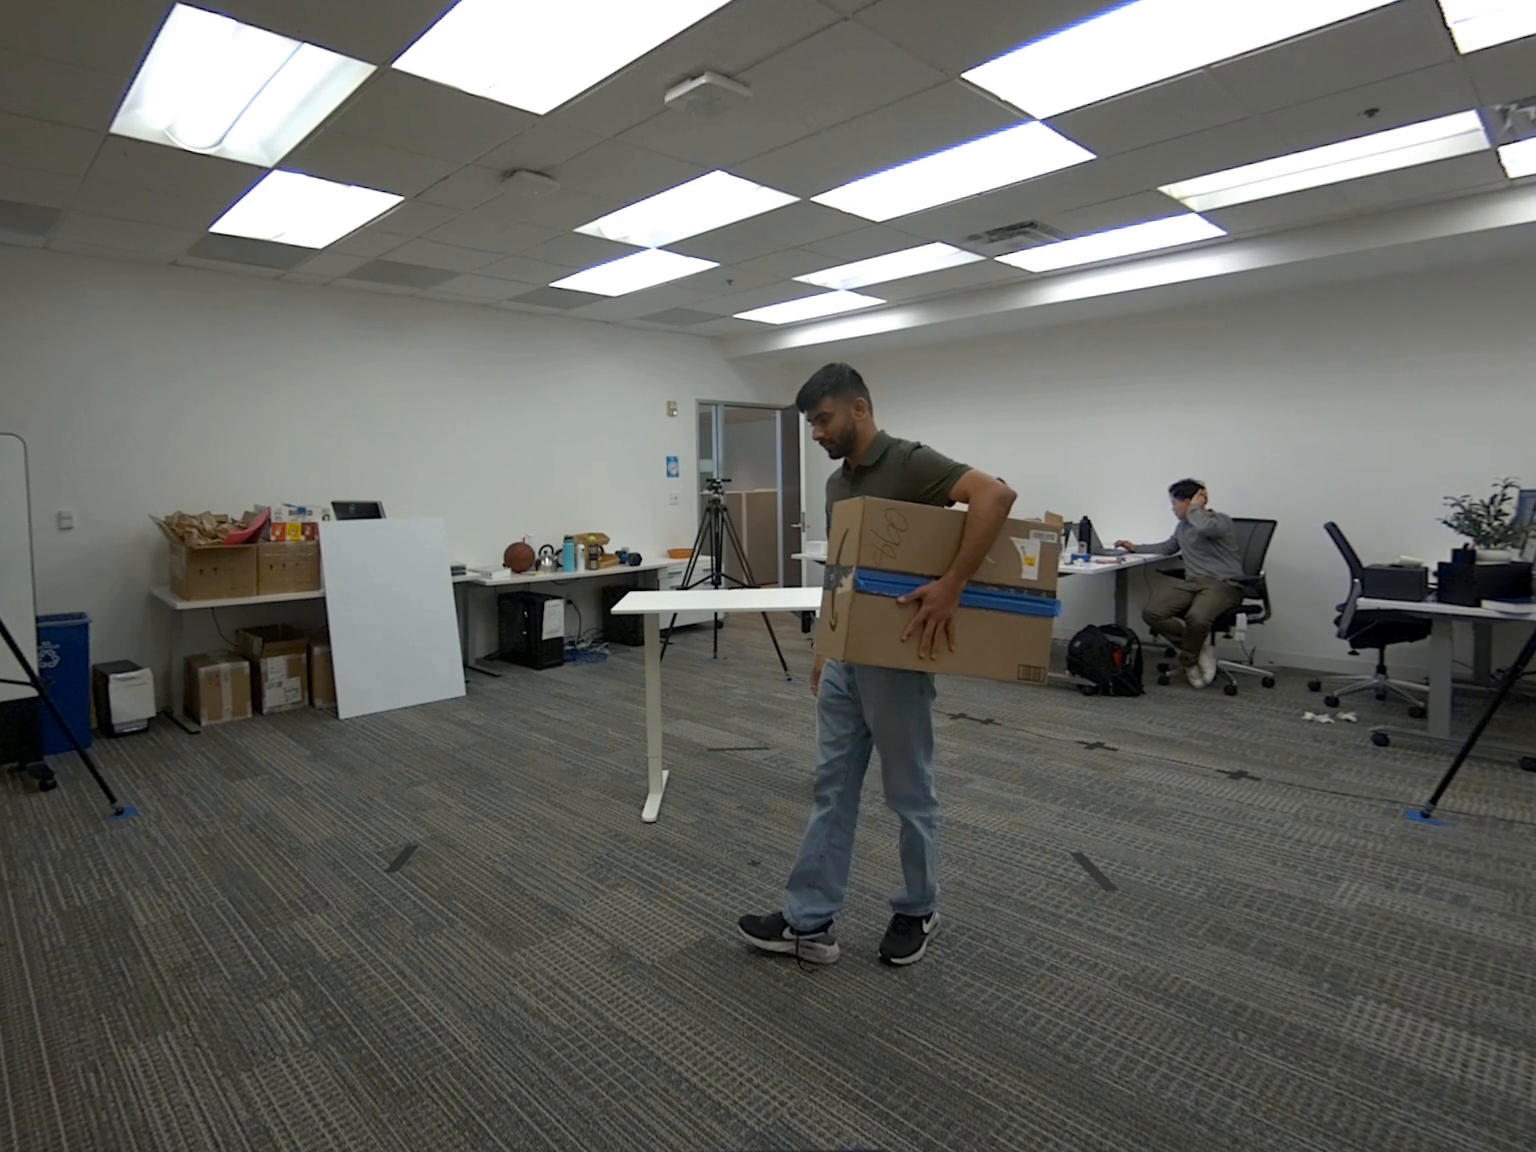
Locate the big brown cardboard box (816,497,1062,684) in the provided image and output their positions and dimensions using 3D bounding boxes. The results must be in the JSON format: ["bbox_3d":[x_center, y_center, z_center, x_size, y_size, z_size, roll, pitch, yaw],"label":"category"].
[{"bbox_3d":[0.450,0.042,2.263,0.582,0.419,0.235,7,-4,-11],"label":"big brown cardboard box"}]
